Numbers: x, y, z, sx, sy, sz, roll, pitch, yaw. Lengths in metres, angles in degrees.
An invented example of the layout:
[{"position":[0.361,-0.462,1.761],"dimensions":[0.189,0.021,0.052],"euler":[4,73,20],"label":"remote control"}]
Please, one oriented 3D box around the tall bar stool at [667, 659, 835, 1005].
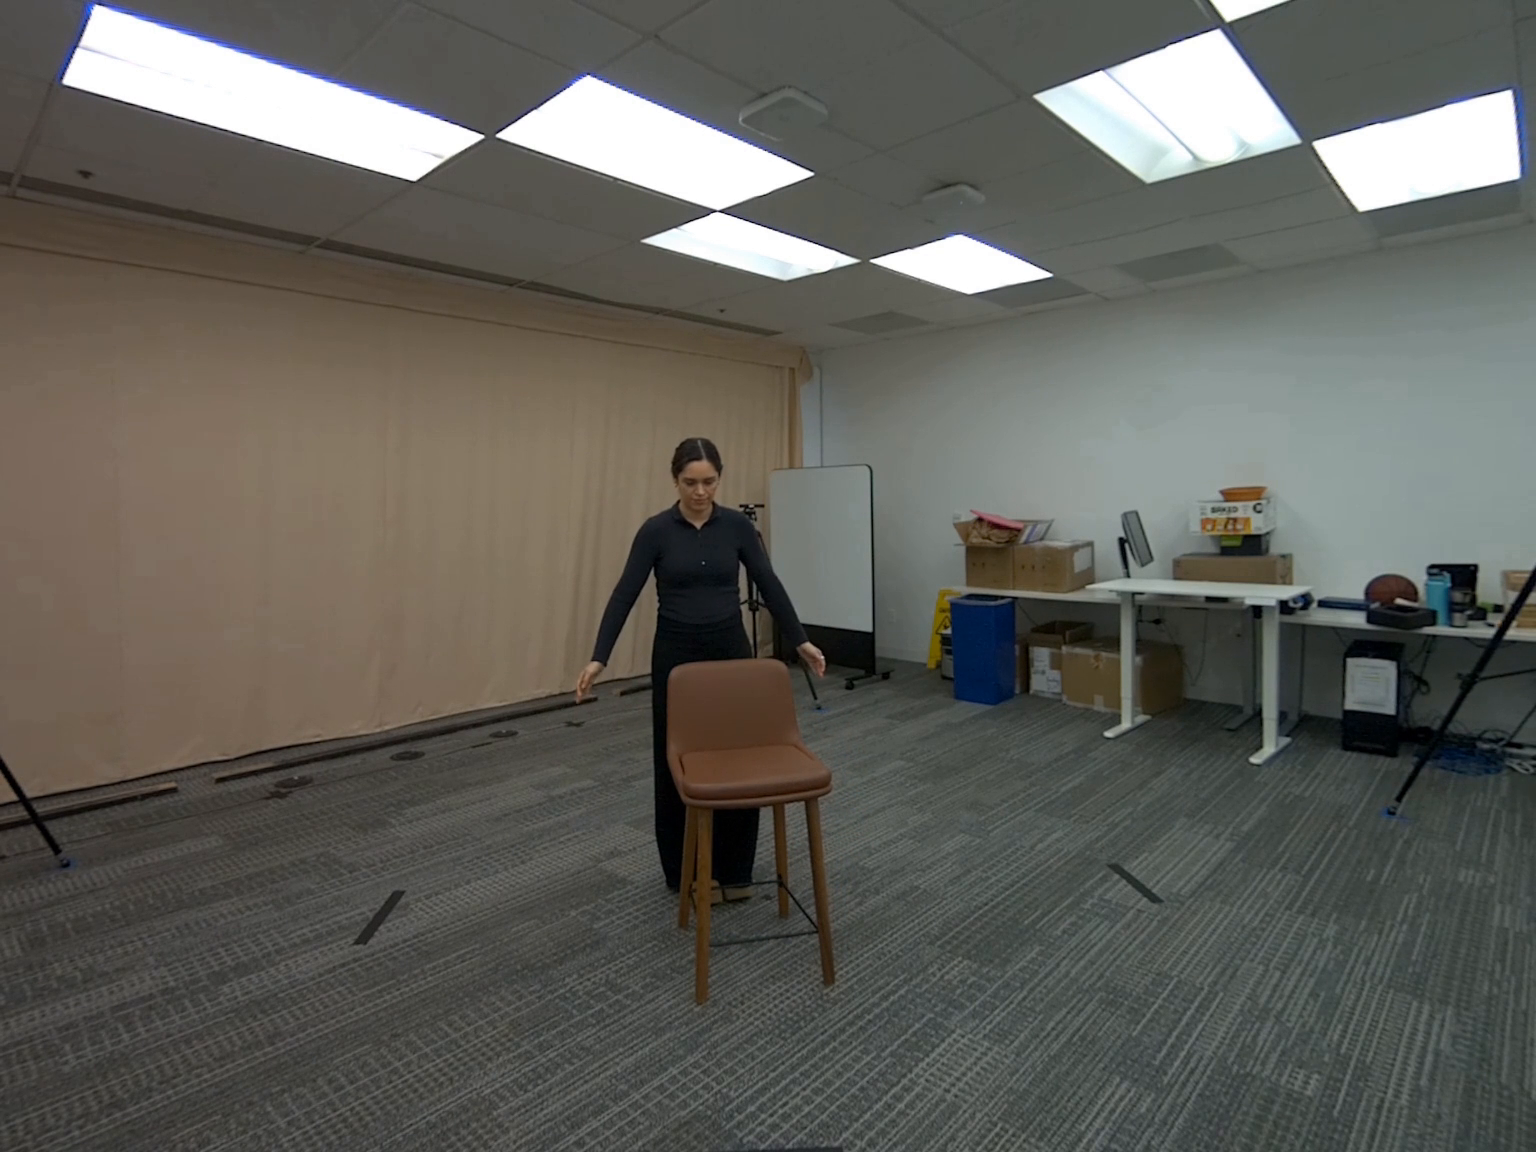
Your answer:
[{"position":[-0.063,0.736,2.597],"dimensions":[0.450,0.889,0.474],"euler":[-2,1,-13],"label":"tall bar stool"}]
